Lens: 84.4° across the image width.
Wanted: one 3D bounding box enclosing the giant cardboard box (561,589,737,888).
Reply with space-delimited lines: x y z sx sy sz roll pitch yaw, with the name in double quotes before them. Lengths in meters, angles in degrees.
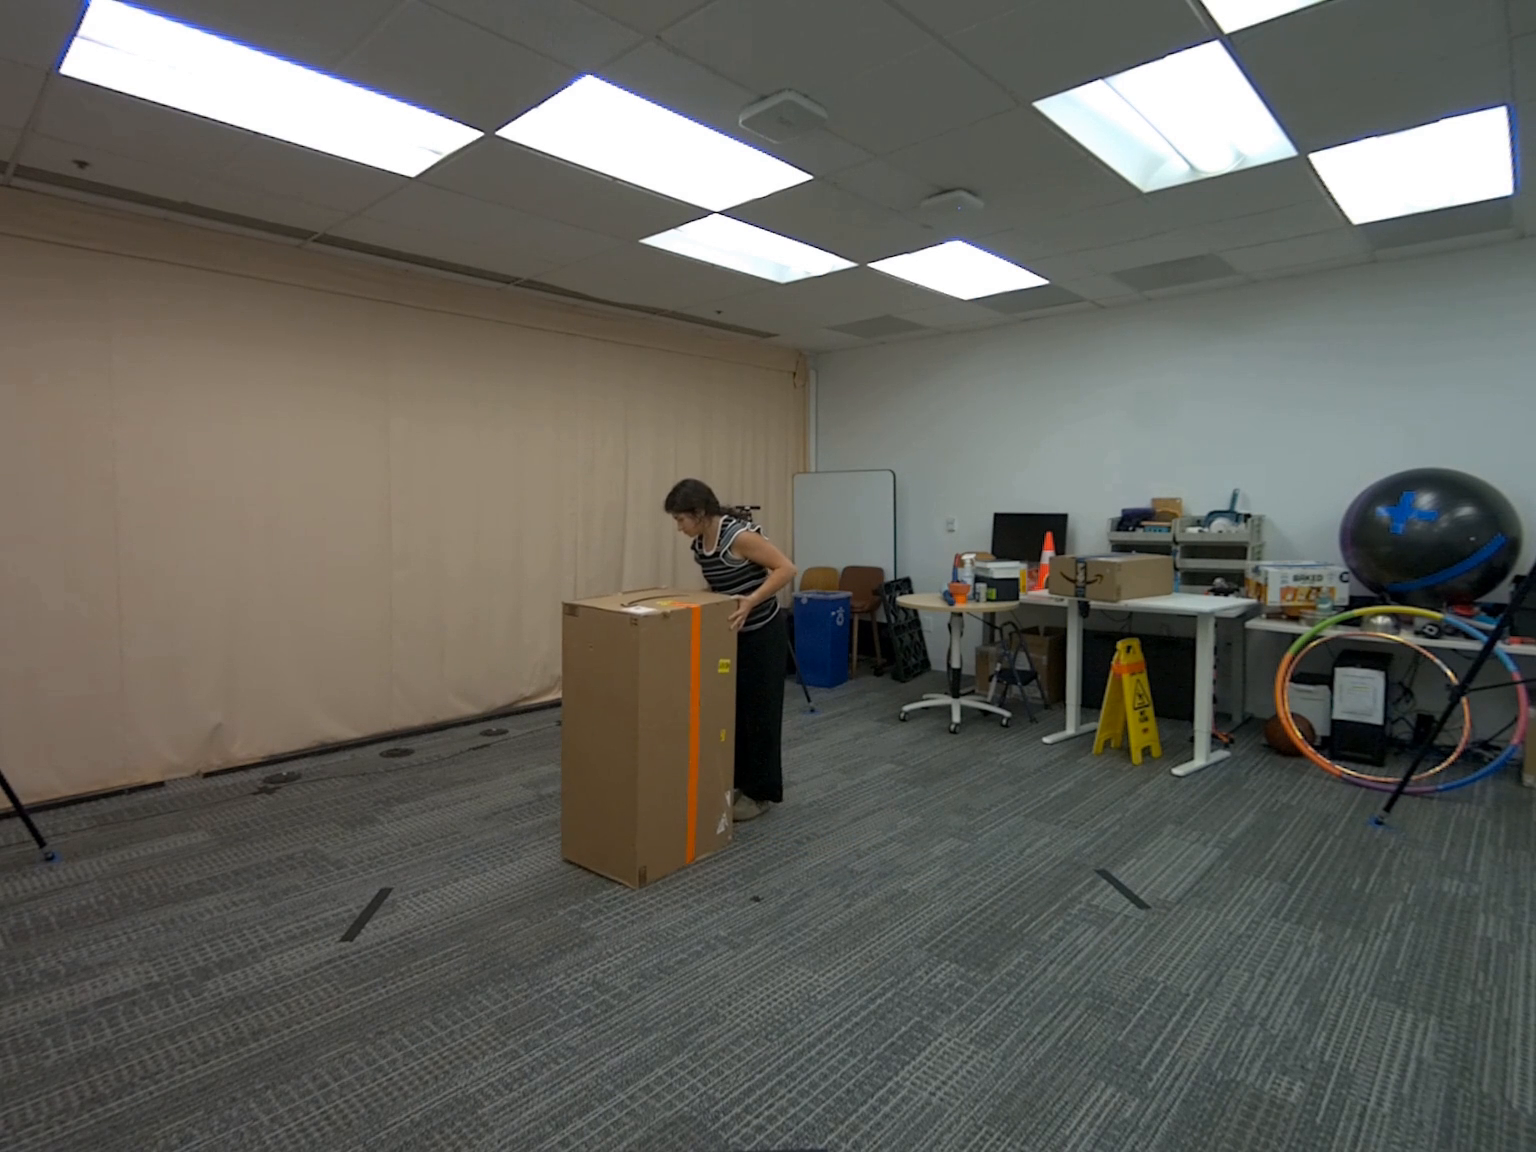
"giant cardboard box" -0.469 0.604 3.366 0.440 1.022 0.560 5 6 37
